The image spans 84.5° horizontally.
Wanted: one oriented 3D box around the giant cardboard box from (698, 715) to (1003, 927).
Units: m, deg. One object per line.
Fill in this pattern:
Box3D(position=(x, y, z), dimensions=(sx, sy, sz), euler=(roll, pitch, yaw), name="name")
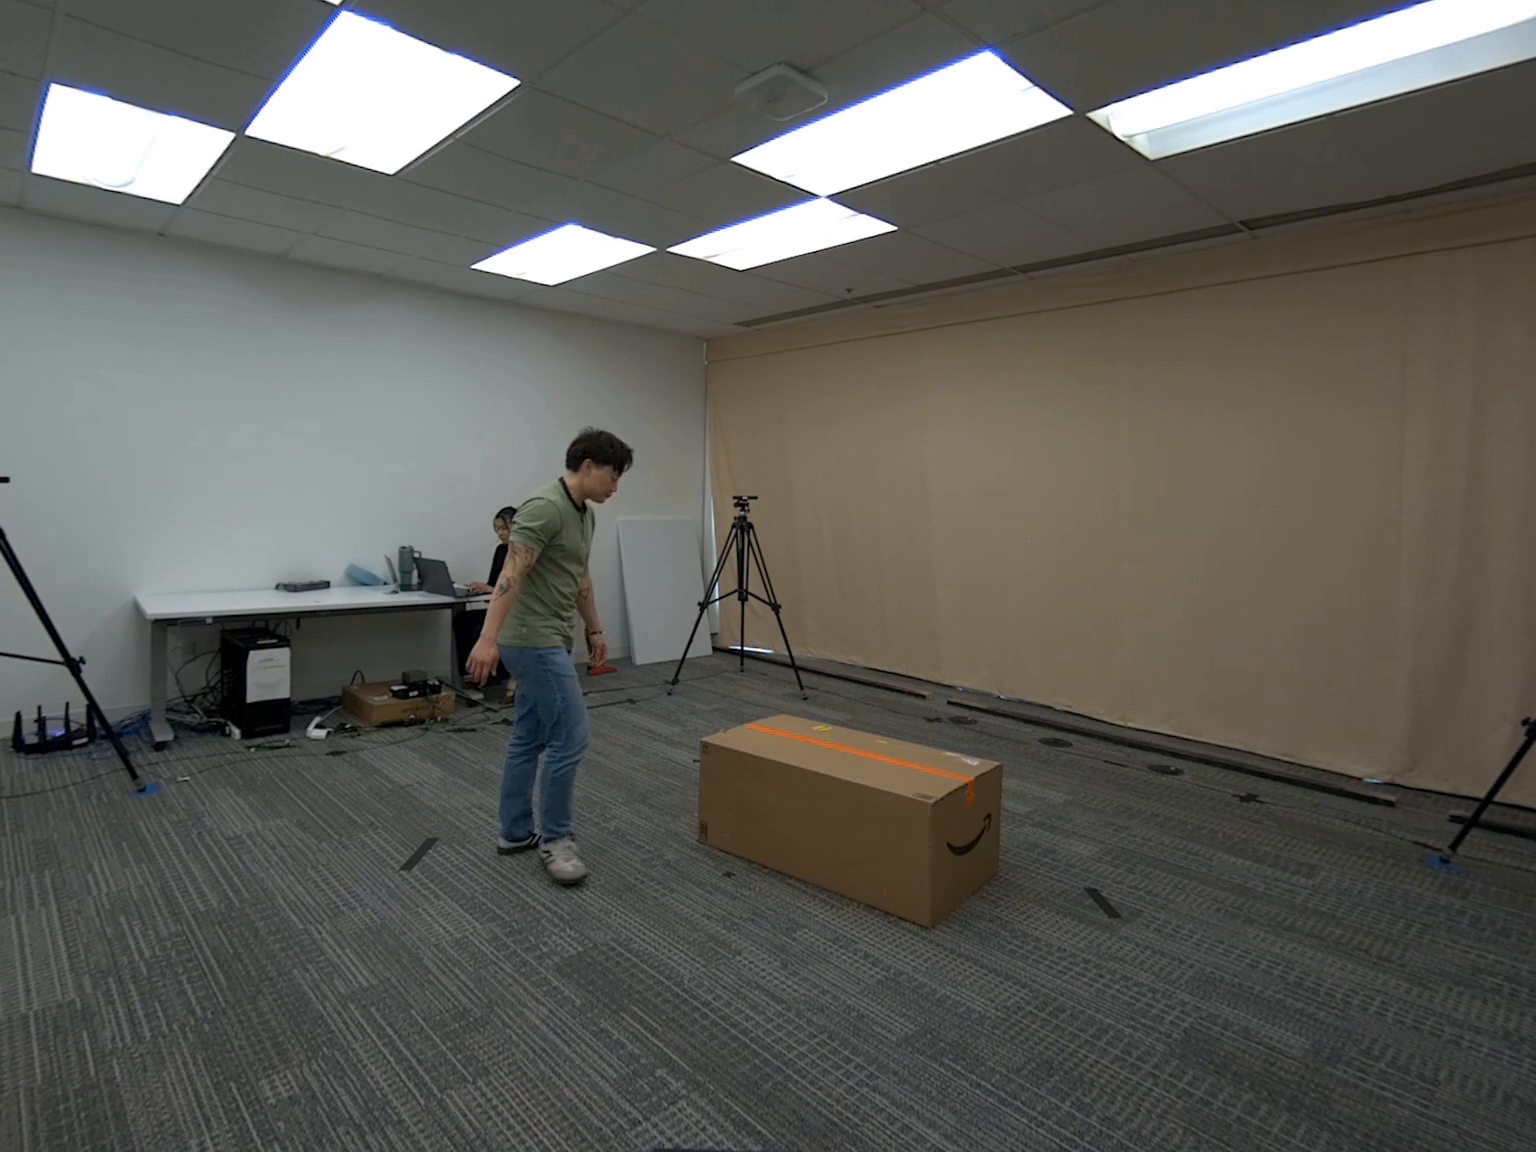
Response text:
Box3D(position=(0.291, 0.884, 3.268), dimensions=(1.051, 0.425, 0.564), euler=(5, 5, 39), name="giant cardboard box")
